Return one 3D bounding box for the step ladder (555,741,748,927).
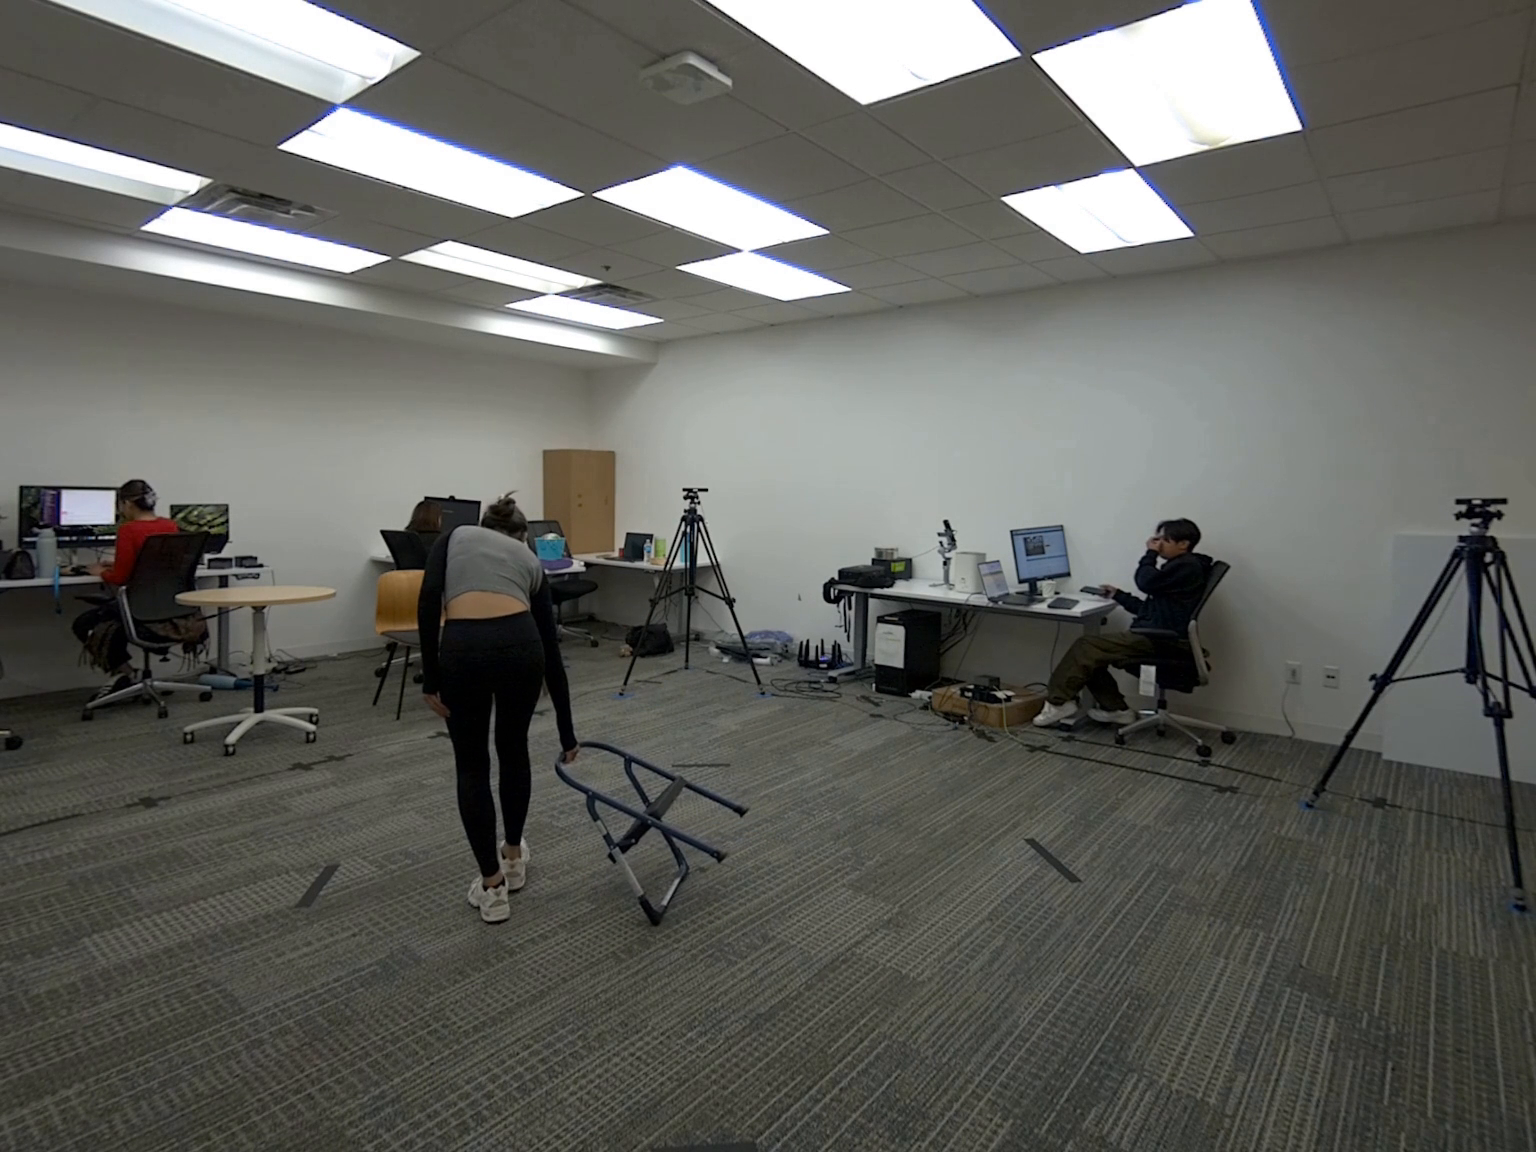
[{"bbox_3d":[-0.438,0.767,2.897,0.612,0.349,0.426,43,9,6],"label":"step ladder"}]
